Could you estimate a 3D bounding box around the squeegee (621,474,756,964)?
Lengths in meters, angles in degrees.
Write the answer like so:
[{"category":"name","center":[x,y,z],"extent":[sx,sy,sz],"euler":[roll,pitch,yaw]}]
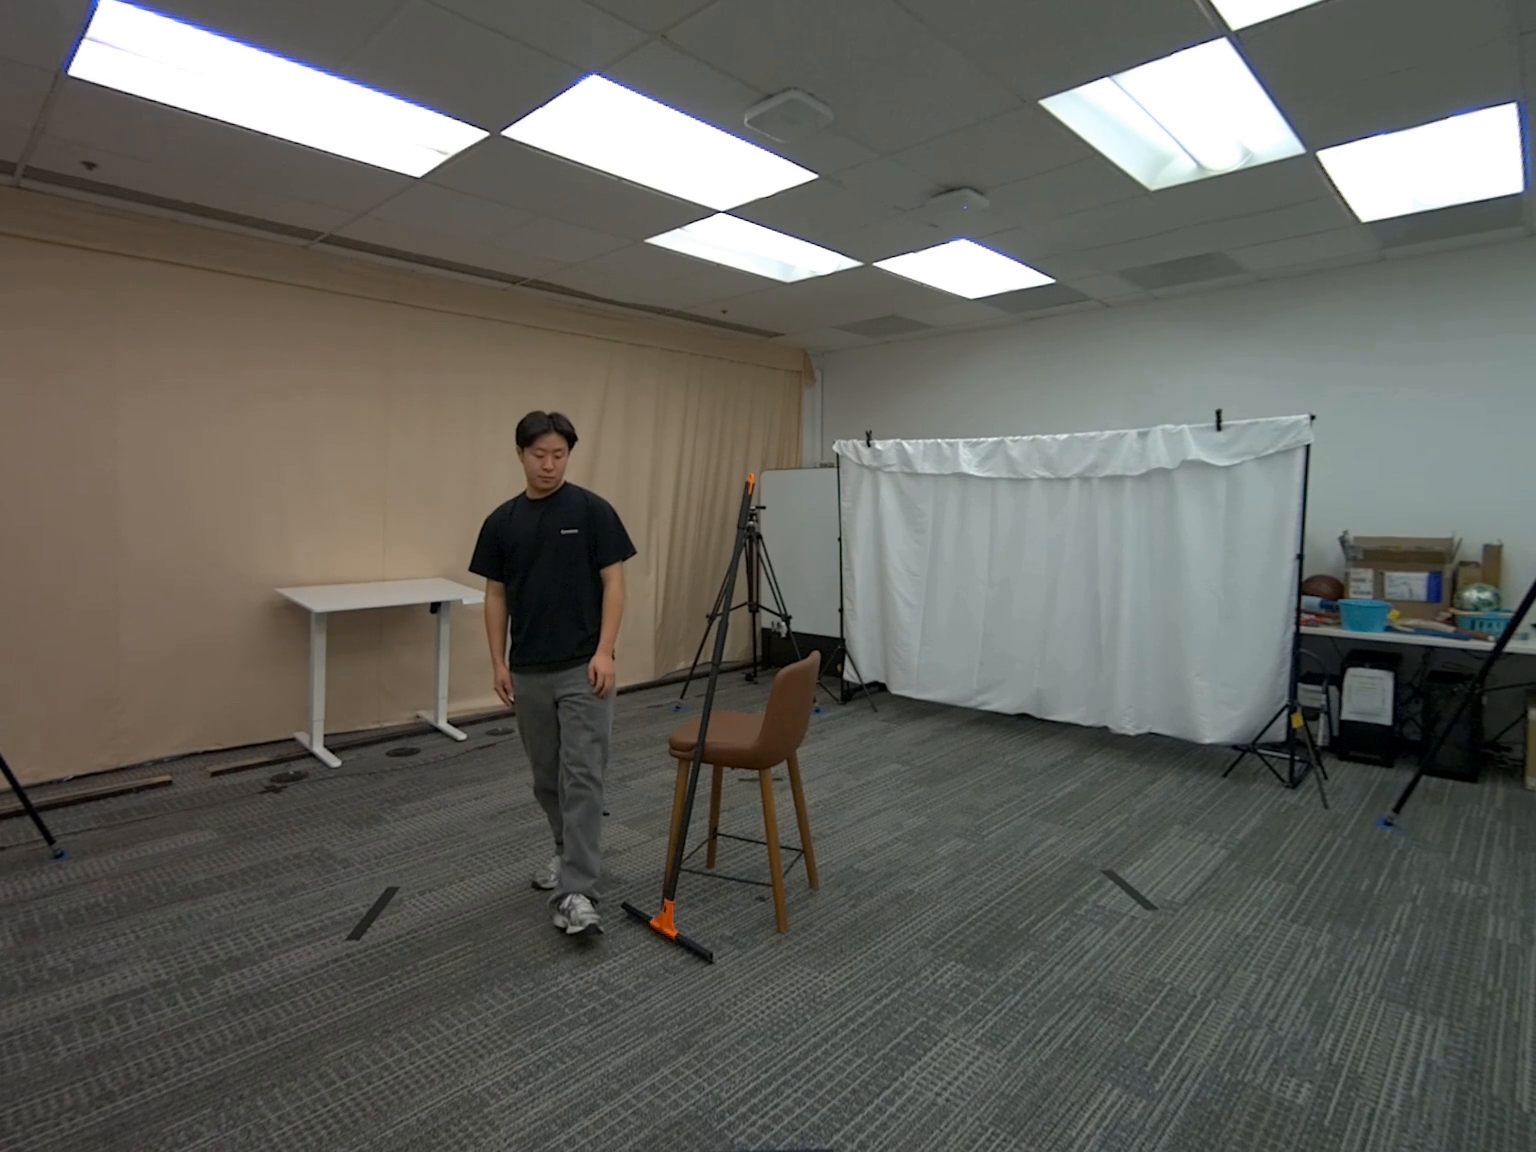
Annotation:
[{"category":"squeegee","center":[-0.198,0.406,2.786],"extent":[0.051,1.541,0.452],"euler":[14,-7,-39]}]
